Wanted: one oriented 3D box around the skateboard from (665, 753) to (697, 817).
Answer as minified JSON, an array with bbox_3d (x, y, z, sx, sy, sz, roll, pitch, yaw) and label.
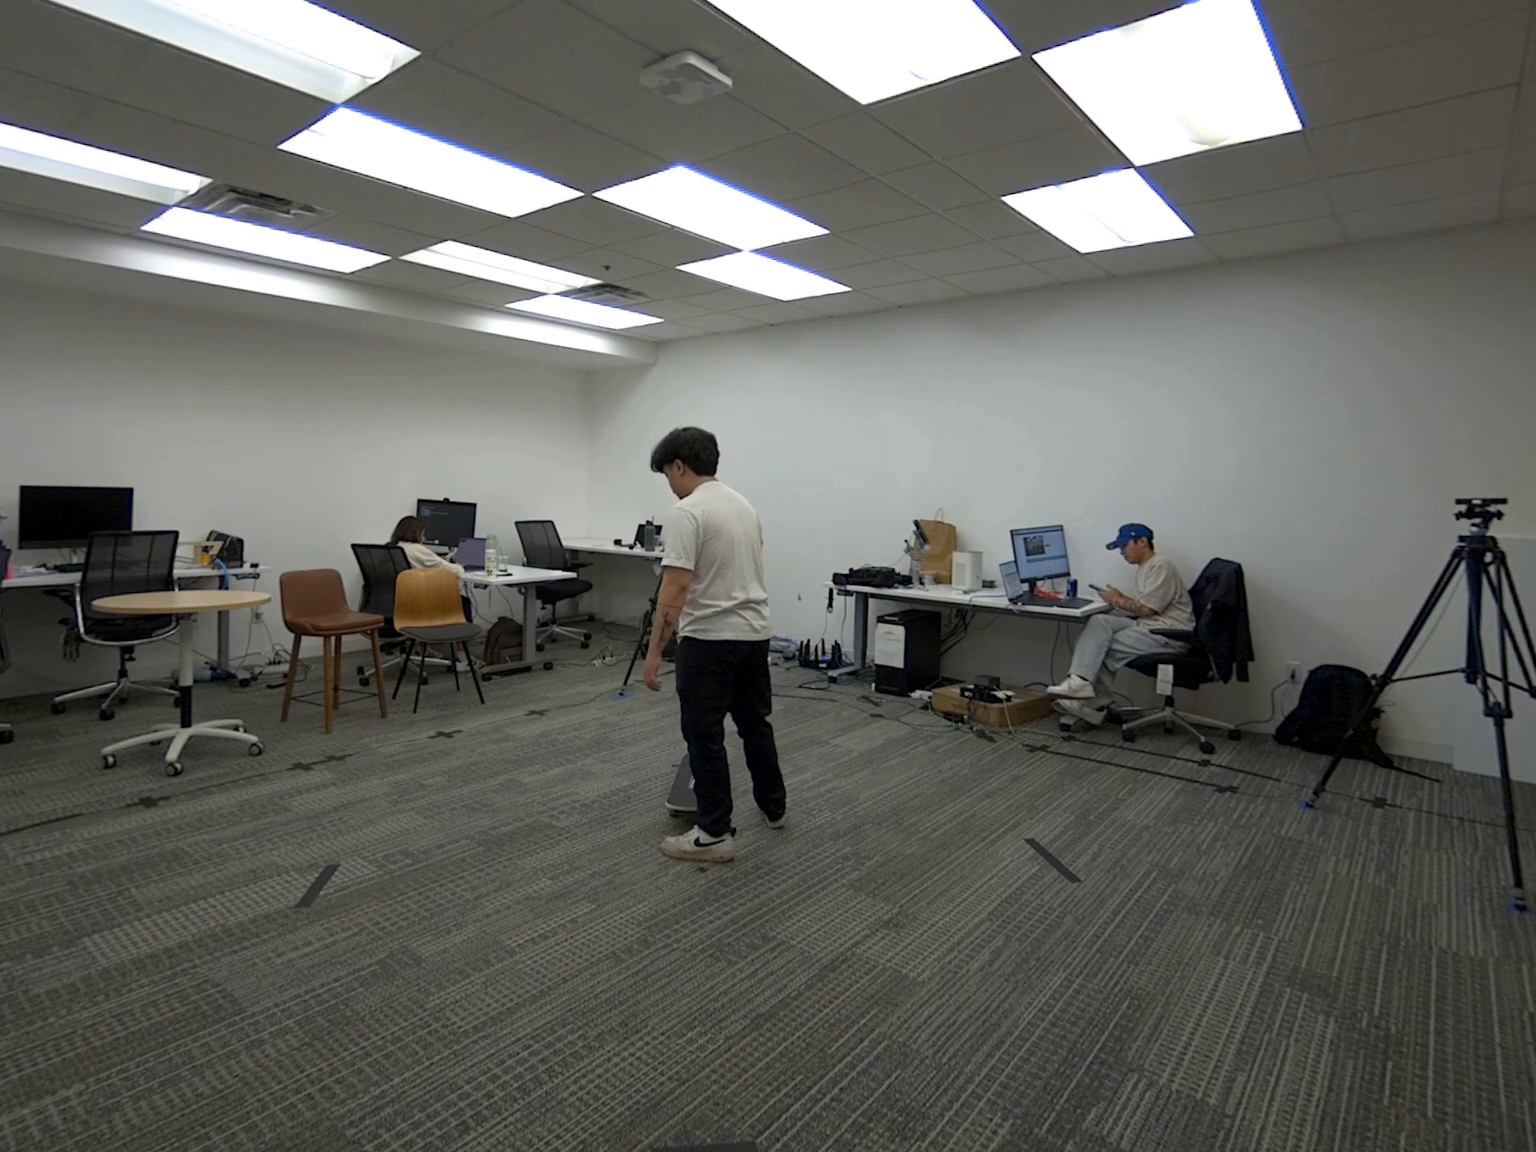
[{"bbox_3d":[-0.341,0.941,3.804,0.194,0.110,0.786,-1,5,1],"label":"skateboard"}]
